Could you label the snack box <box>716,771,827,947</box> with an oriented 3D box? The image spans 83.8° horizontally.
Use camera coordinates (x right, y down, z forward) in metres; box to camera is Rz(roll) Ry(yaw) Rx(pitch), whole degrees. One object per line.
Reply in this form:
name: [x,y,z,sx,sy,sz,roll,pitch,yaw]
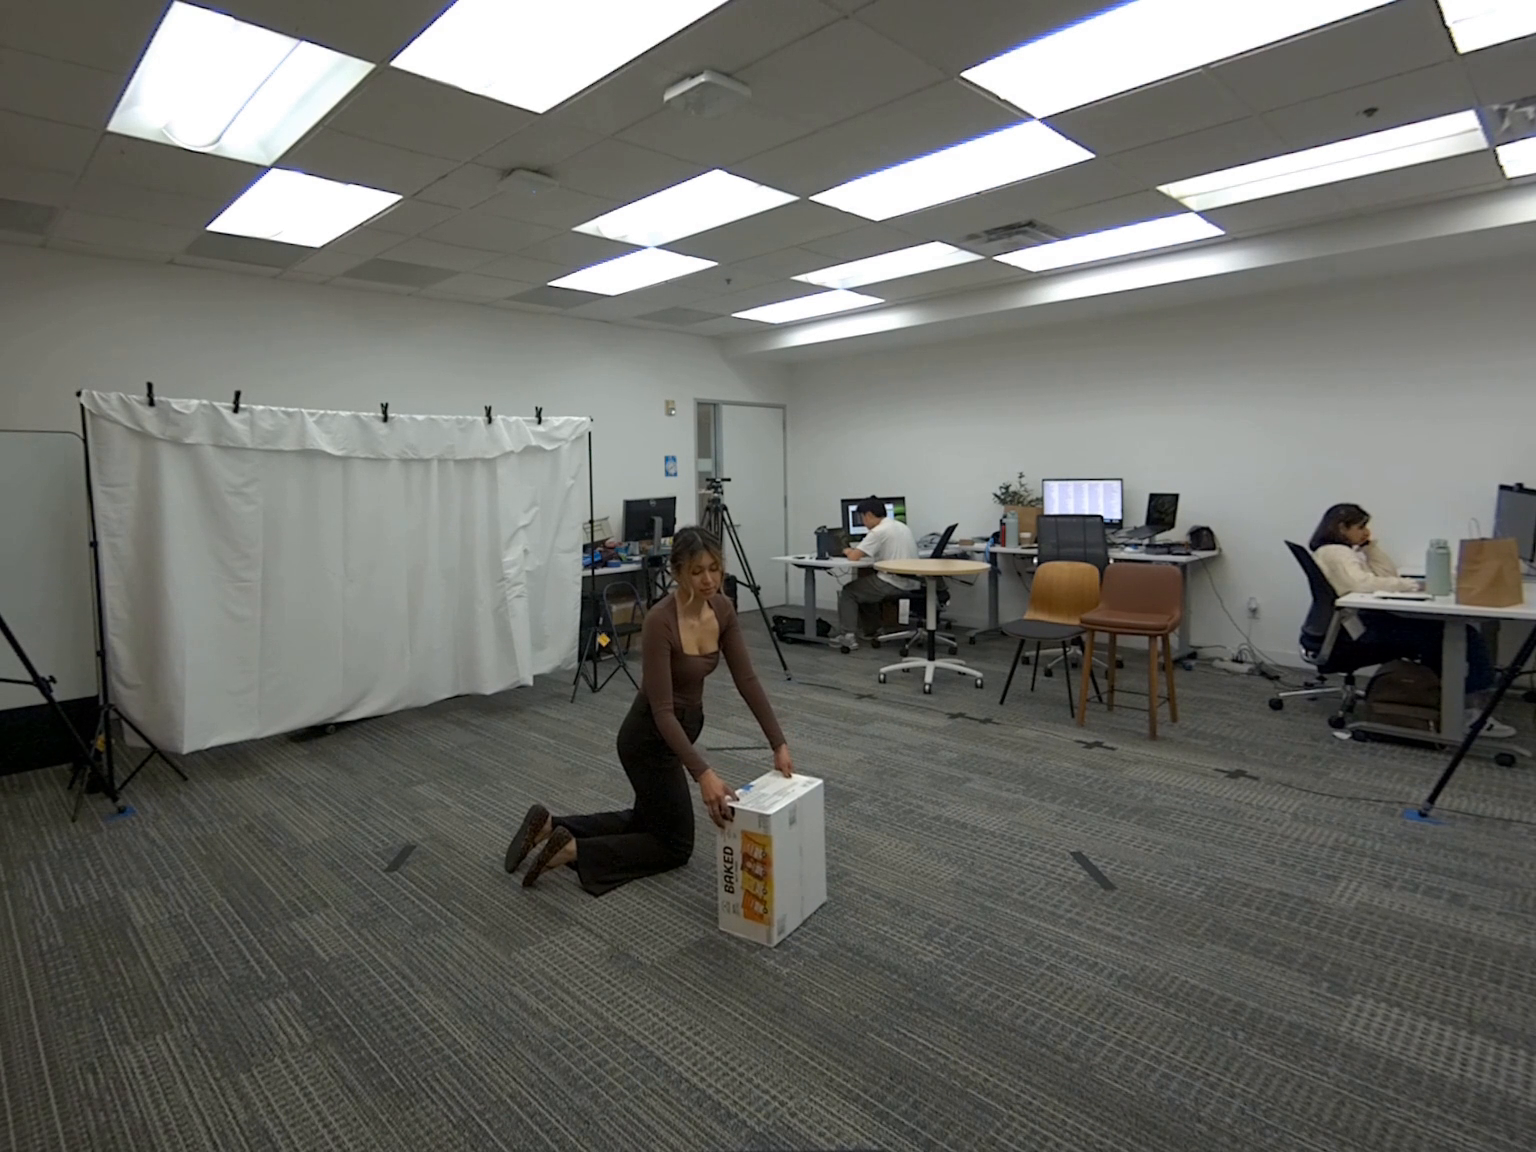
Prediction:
snack box: [0.019,0.884,2.719,0.211,0.404,0.332,0,4,33]
